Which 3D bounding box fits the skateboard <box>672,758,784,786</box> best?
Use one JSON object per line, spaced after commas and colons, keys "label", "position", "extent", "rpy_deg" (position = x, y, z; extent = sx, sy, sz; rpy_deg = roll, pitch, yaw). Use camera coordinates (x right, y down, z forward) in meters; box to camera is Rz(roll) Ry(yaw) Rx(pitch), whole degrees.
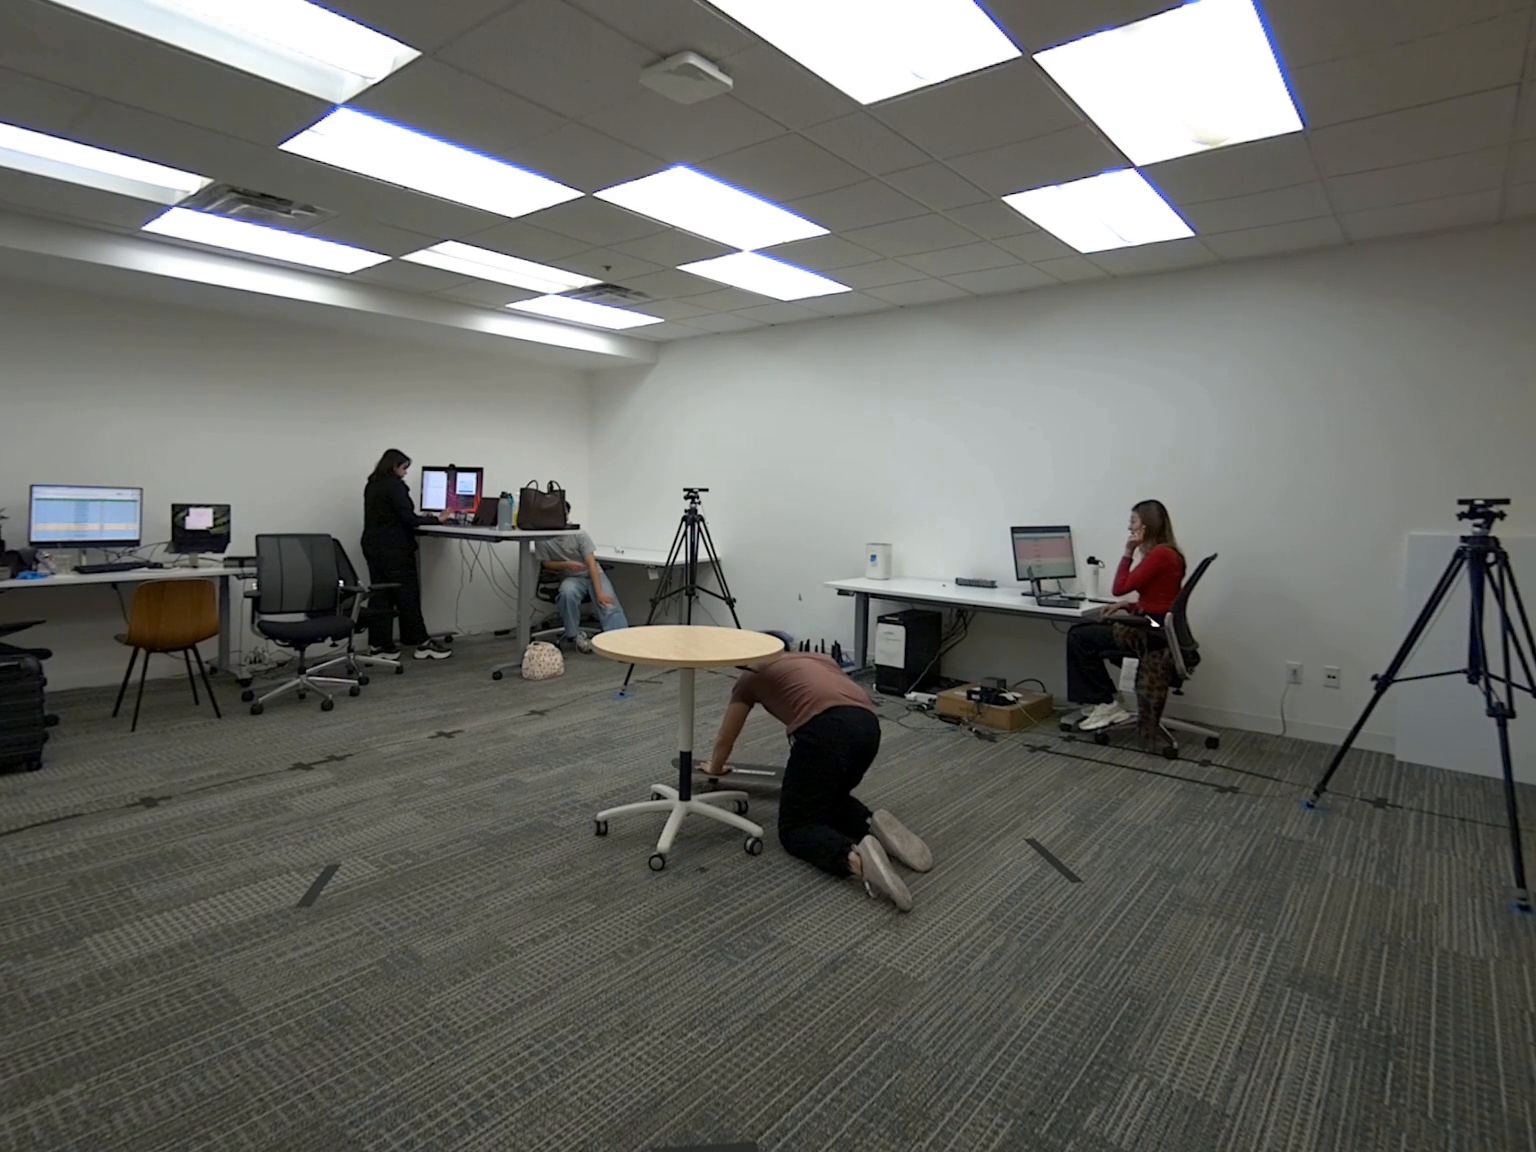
{"label": "skateboard", "position": [-0.073, 0.931, 3.937], "extent": [0.795, 0.110, 0.192], "rpy_deg": [2, 4, 10]}
